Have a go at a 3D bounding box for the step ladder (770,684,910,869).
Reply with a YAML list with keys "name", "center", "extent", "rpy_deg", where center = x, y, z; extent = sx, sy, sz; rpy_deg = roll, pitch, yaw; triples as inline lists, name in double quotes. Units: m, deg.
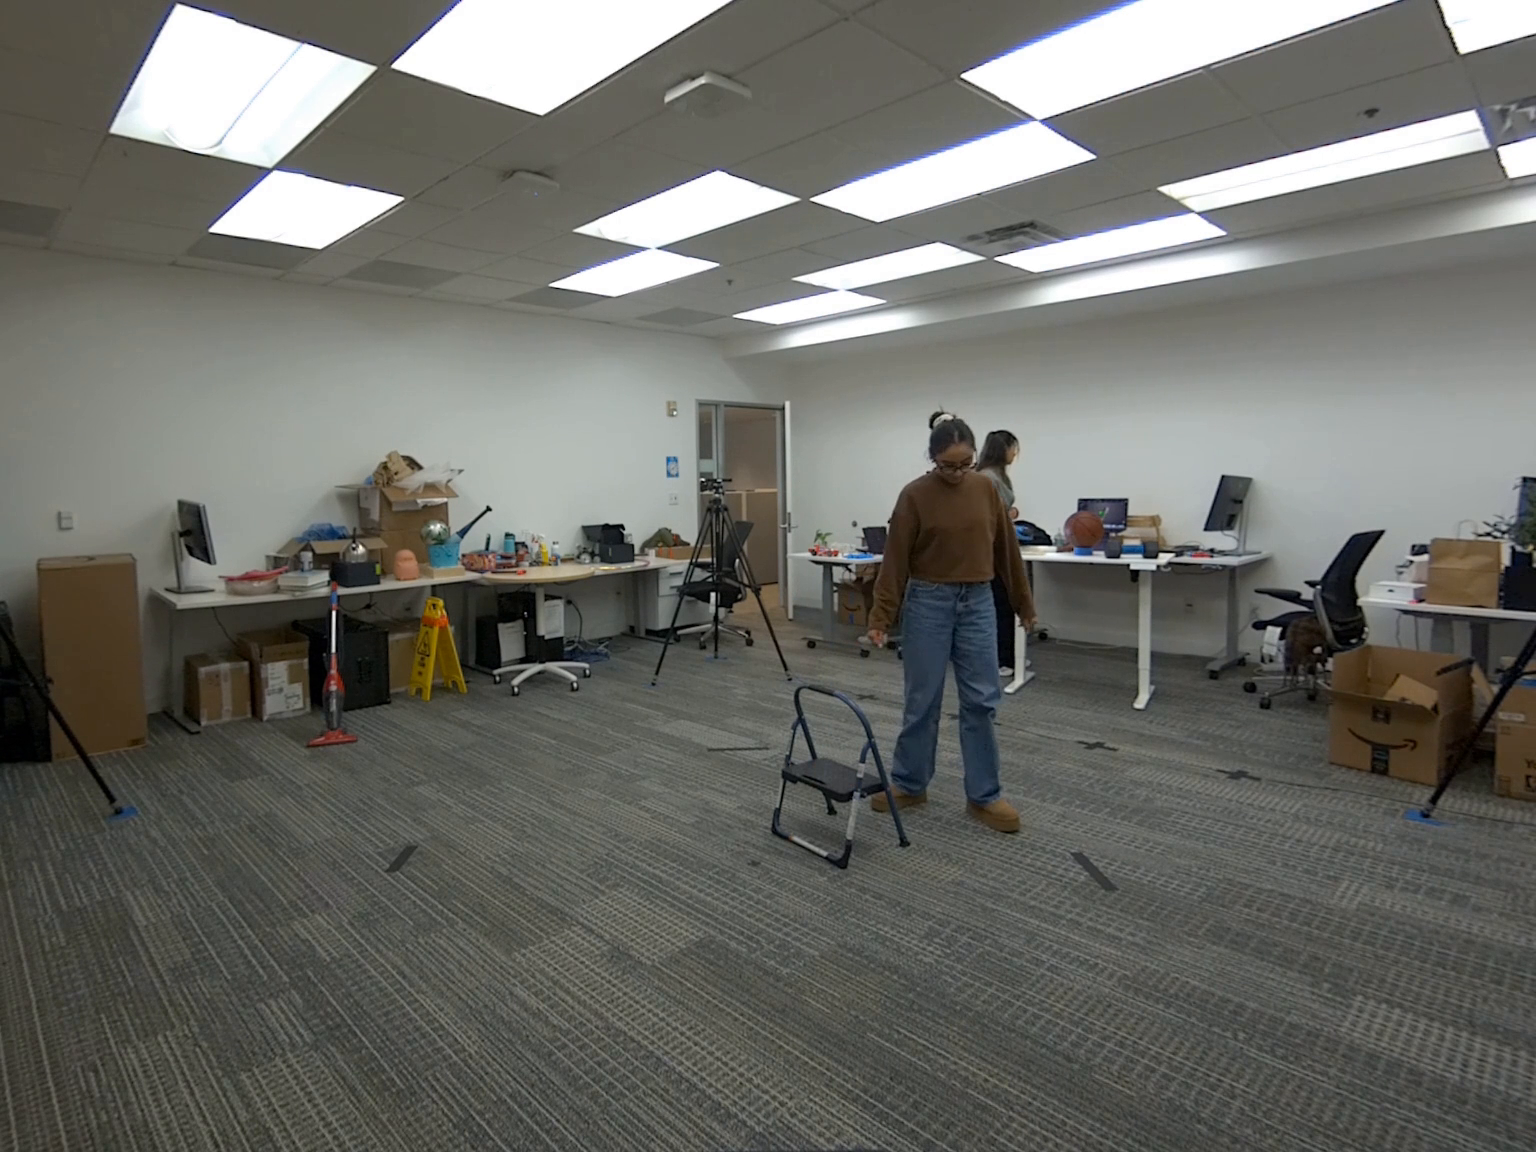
- name: "step ladder"
  center: [0.268, 0.714, 3.288]
  extent: [0.340, 0.604, 0.444]
  rpy_deg: [-5, 6, -38]
